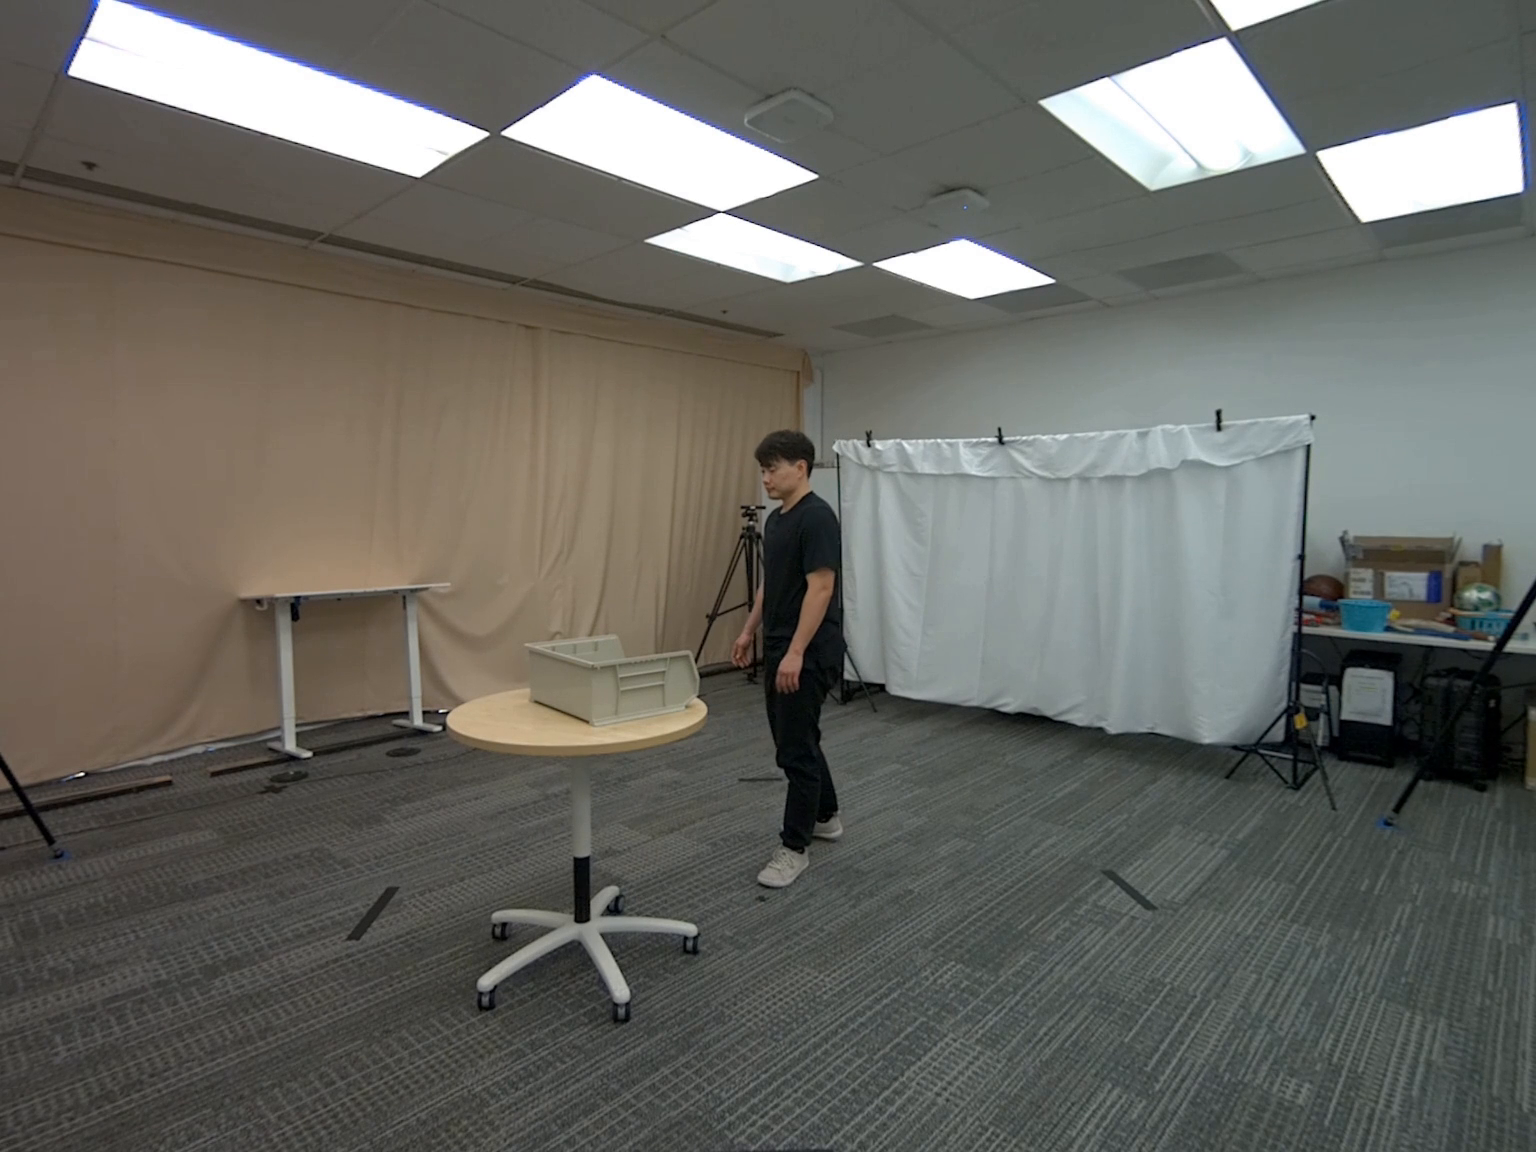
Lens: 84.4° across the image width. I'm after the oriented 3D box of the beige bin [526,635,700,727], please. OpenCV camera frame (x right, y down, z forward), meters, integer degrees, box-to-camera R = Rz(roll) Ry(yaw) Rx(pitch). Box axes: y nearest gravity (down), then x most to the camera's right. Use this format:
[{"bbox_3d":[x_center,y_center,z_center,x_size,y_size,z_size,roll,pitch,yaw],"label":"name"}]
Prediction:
[{"bbox_3d":[-0.486,0.310,2.591,0.366,0.188,0.436,-5,7,-40],"label":"beige bin"}]
